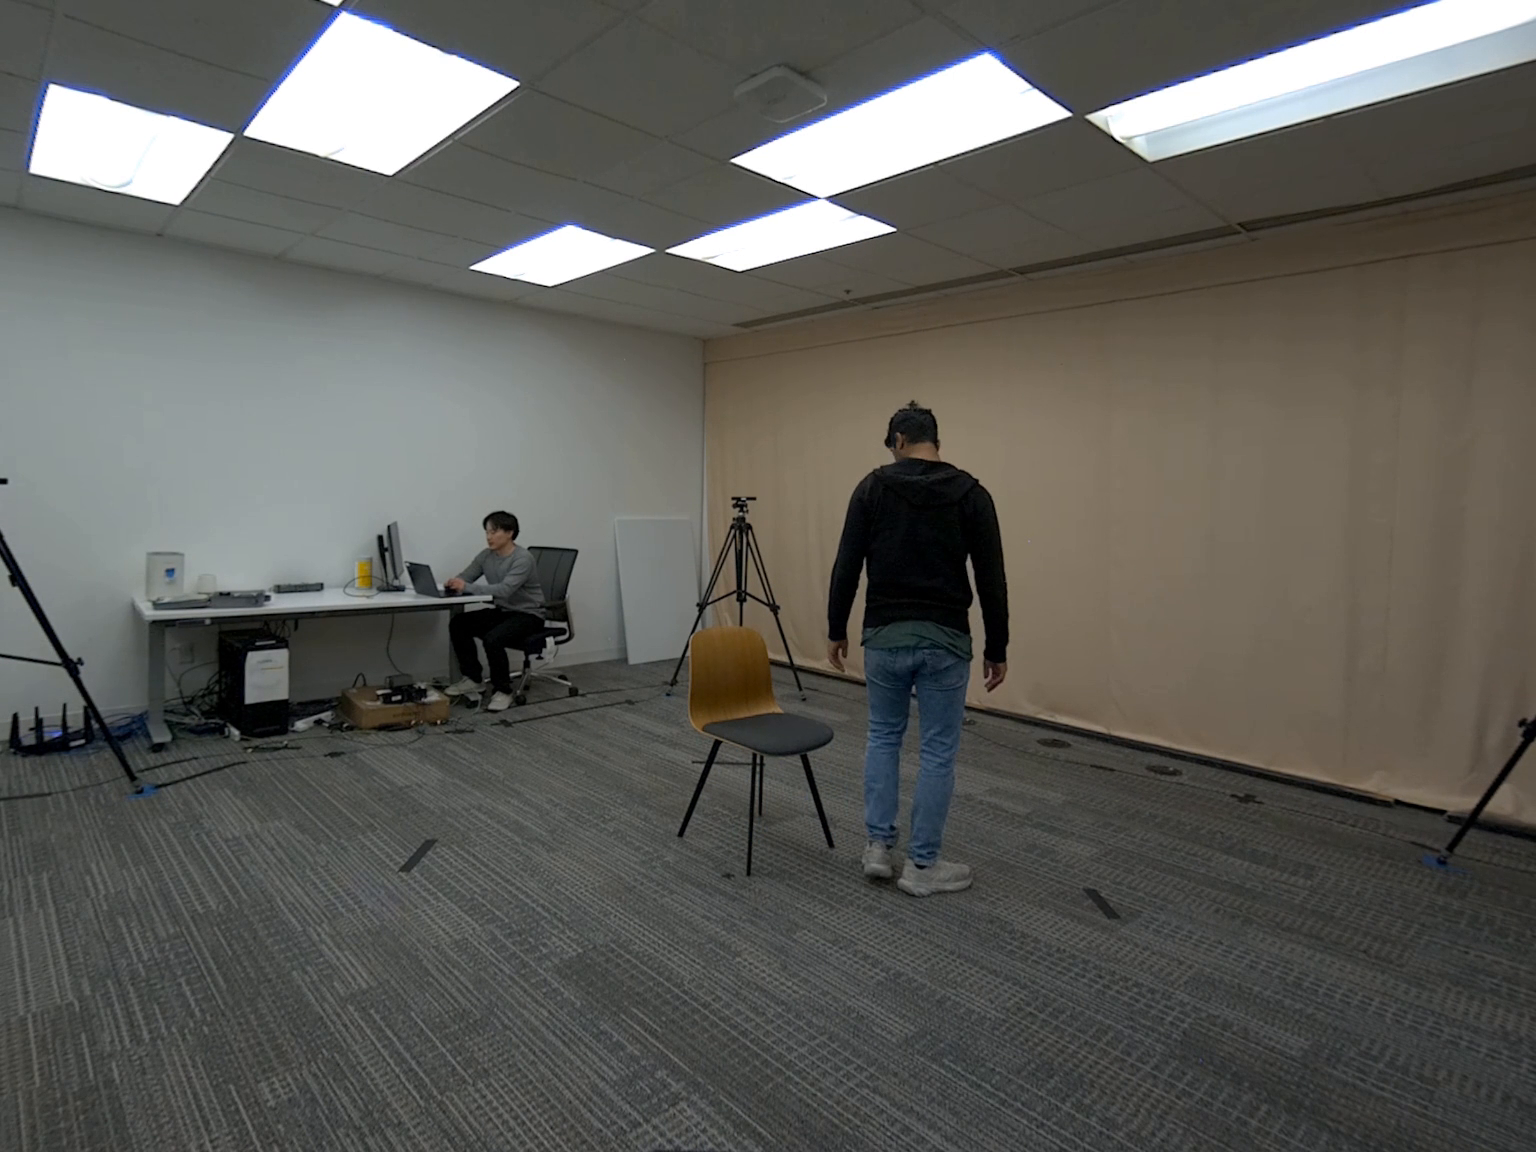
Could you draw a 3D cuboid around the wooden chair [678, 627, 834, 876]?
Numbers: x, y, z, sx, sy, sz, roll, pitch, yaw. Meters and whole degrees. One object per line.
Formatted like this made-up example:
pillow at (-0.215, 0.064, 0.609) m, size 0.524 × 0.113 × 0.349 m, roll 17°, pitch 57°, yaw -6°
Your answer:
wooden chair at (-0.045, 0.661, 3.385) m, size 0.467 × 0.878 × 0.535 m, roll -1°, pitch 0°, yaw -39°
